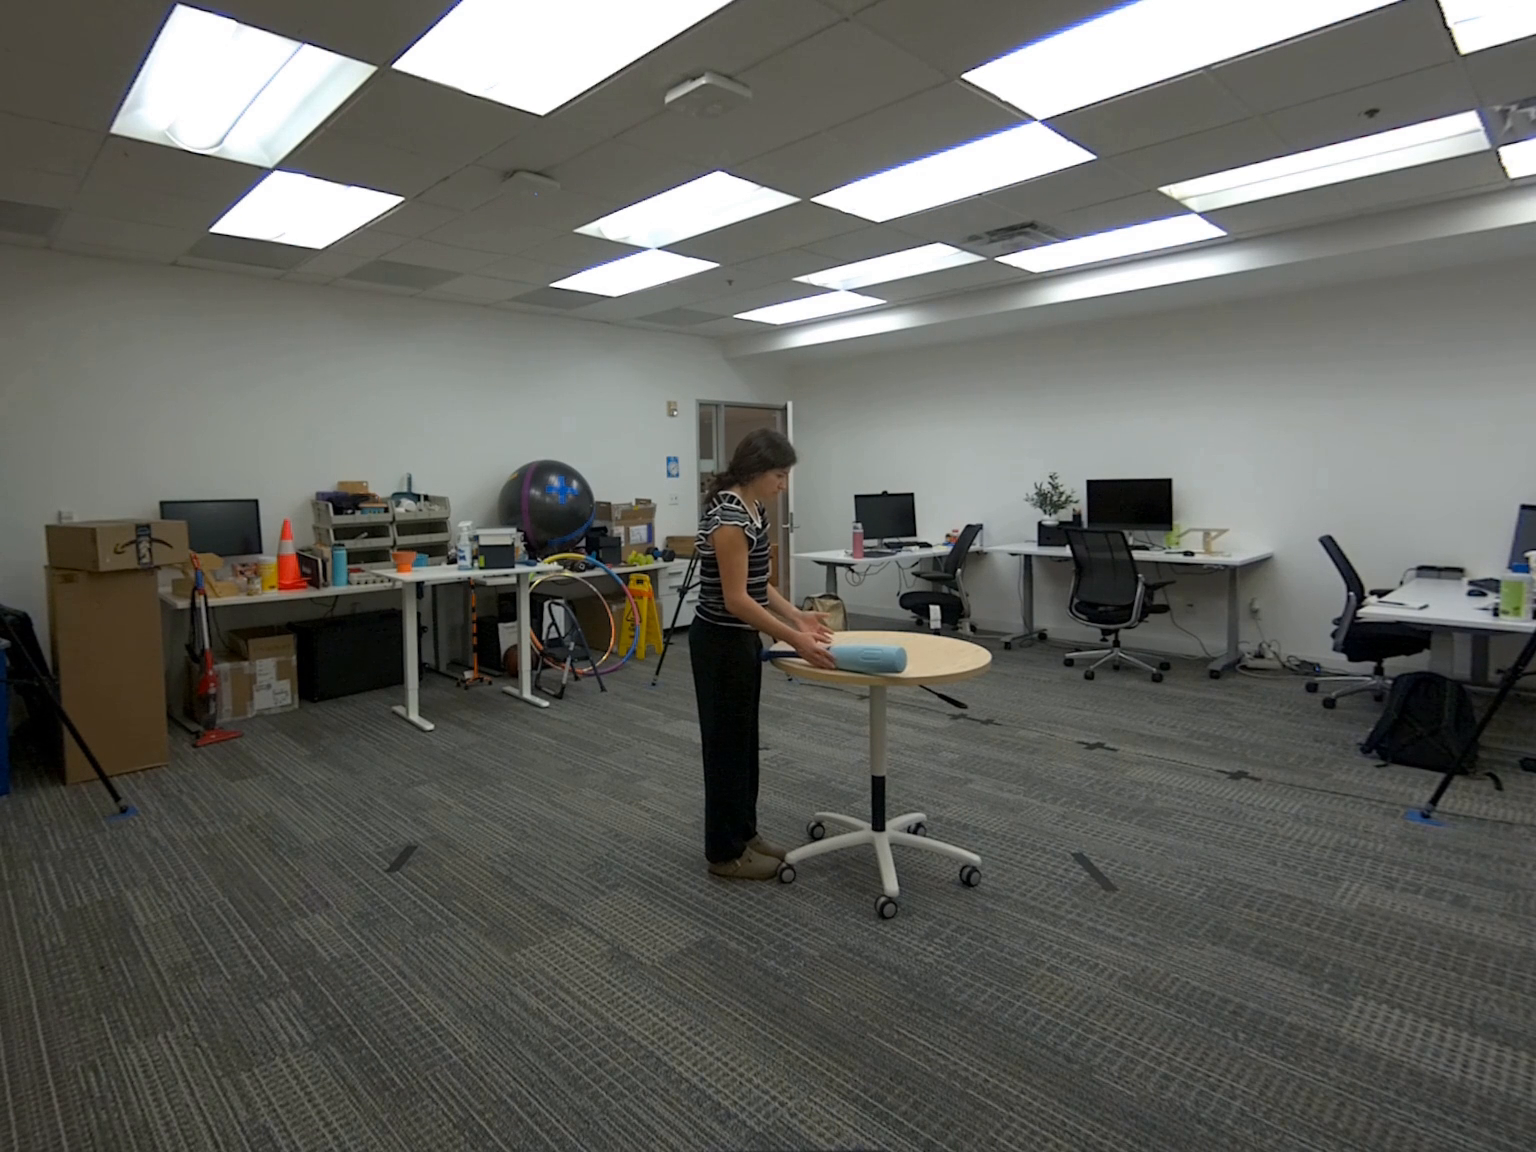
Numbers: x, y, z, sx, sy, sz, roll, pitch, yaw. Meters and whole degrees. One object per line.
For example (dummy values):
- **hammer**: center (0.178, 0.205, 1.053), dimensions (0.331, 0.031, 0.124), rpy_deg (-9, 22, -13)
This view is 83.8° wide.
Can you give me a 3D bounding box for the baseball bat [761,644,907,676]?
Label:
- **baseball bat**: center (0.206, 0.268, 2.766), dimensions (0.557, 0.089, 0.087), rpy_deg (-3, 3, 37)
